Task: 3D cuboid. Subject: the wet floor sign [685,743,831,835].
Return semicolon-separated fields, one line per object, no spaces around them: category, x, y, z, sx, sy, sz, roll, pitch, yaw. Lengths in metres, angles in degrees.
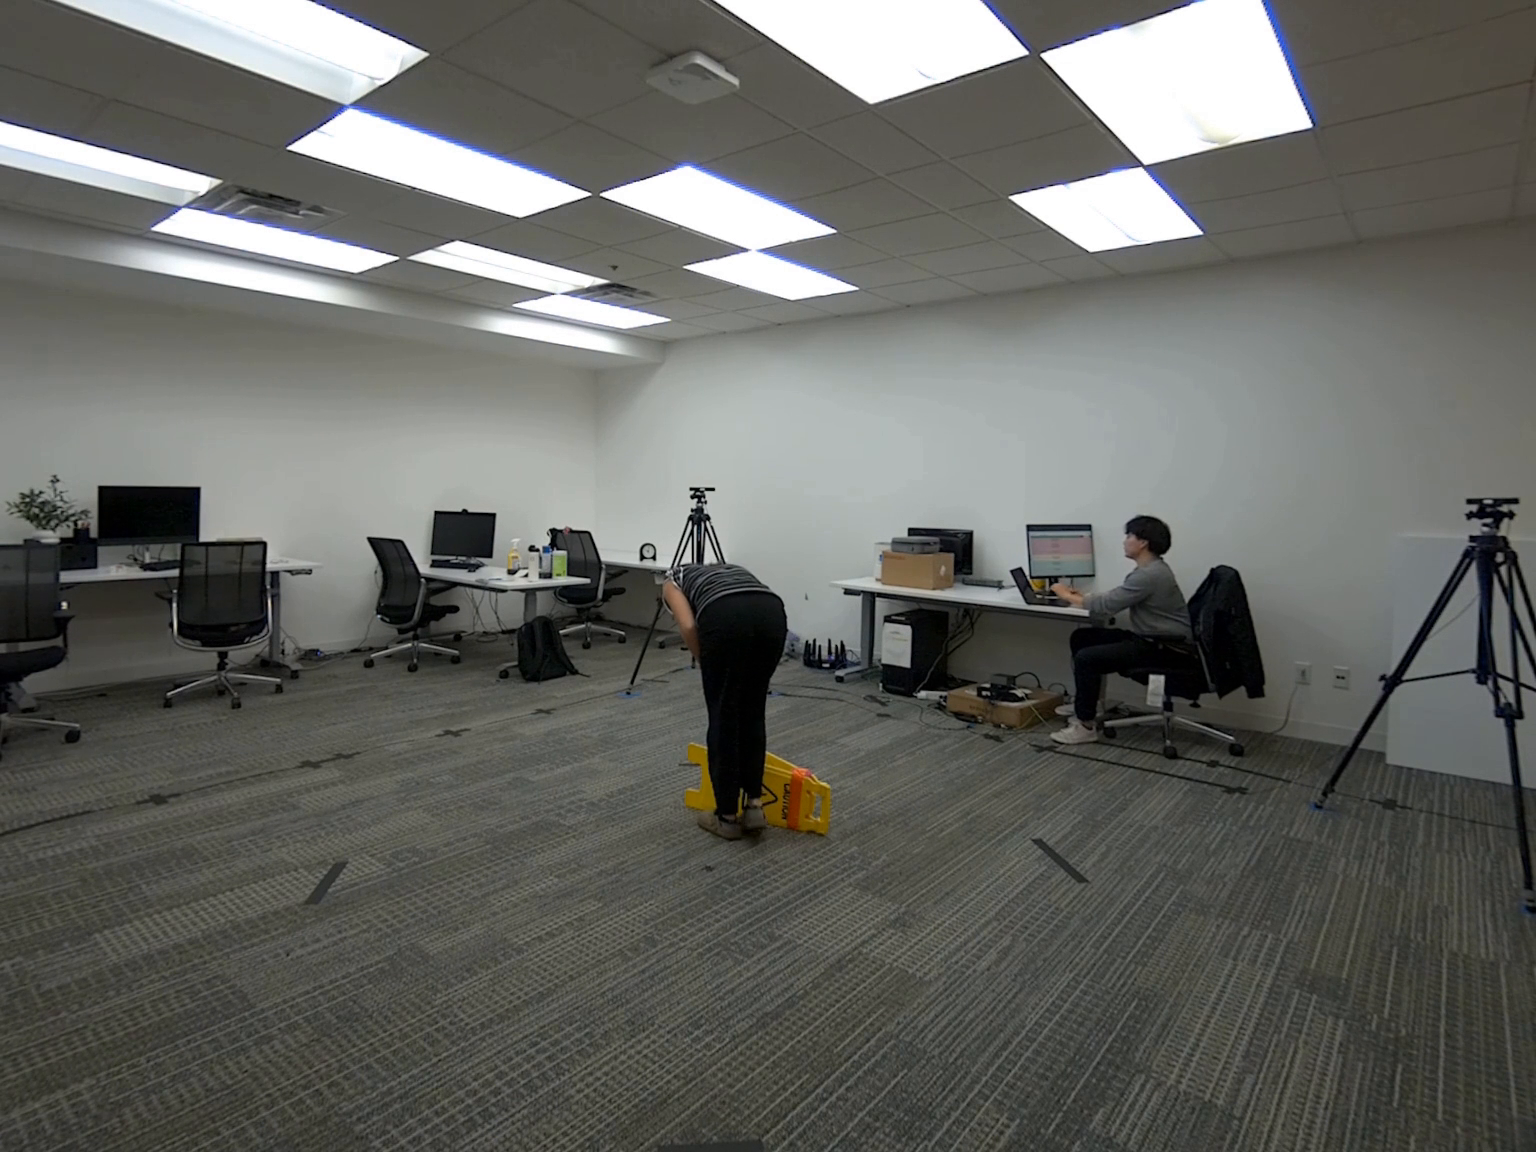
wet floor sign;-0.030;0.897;3.620;0.668;0.281;0.281;8;6;36
